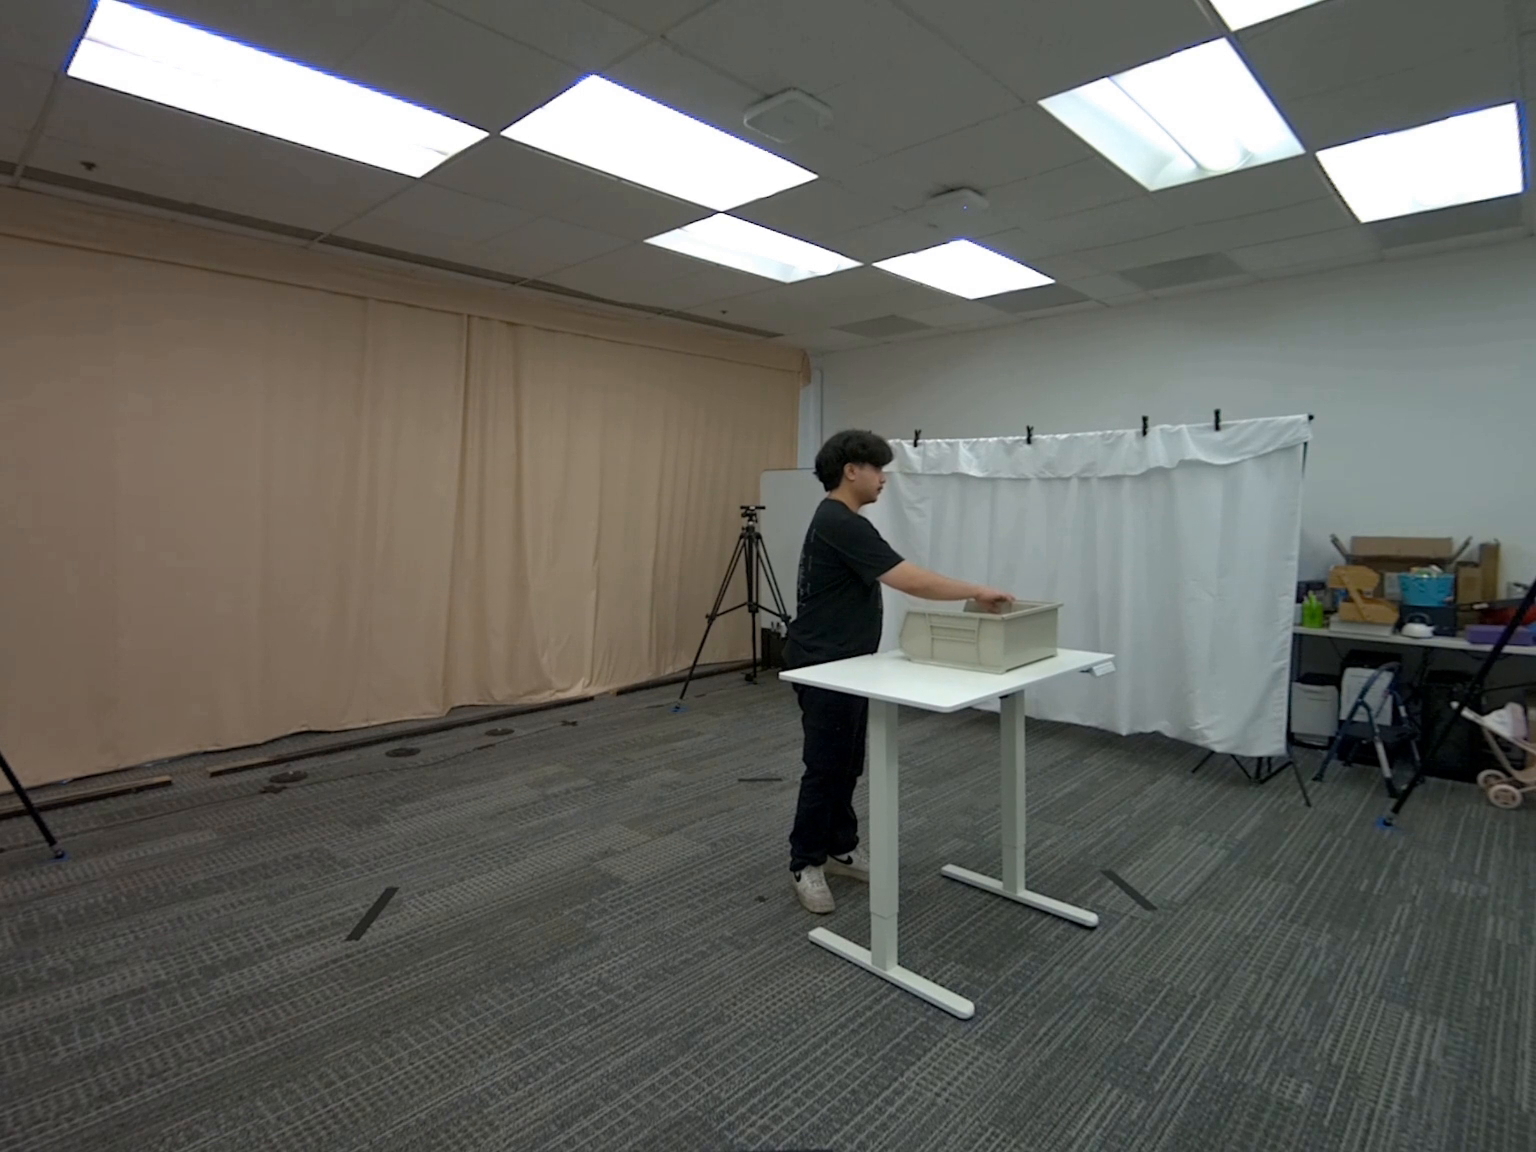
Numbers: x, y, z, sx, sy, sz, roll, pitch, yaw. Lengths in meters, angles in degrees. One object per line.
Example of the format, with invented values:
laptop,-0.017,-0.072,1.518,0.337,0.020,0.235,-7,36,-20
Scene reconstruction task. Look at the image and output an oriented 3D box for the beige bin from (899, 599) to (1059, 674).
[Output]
beige bin,0.703,0.188,2.785,0.390,0.188,0.409,5,7,44
